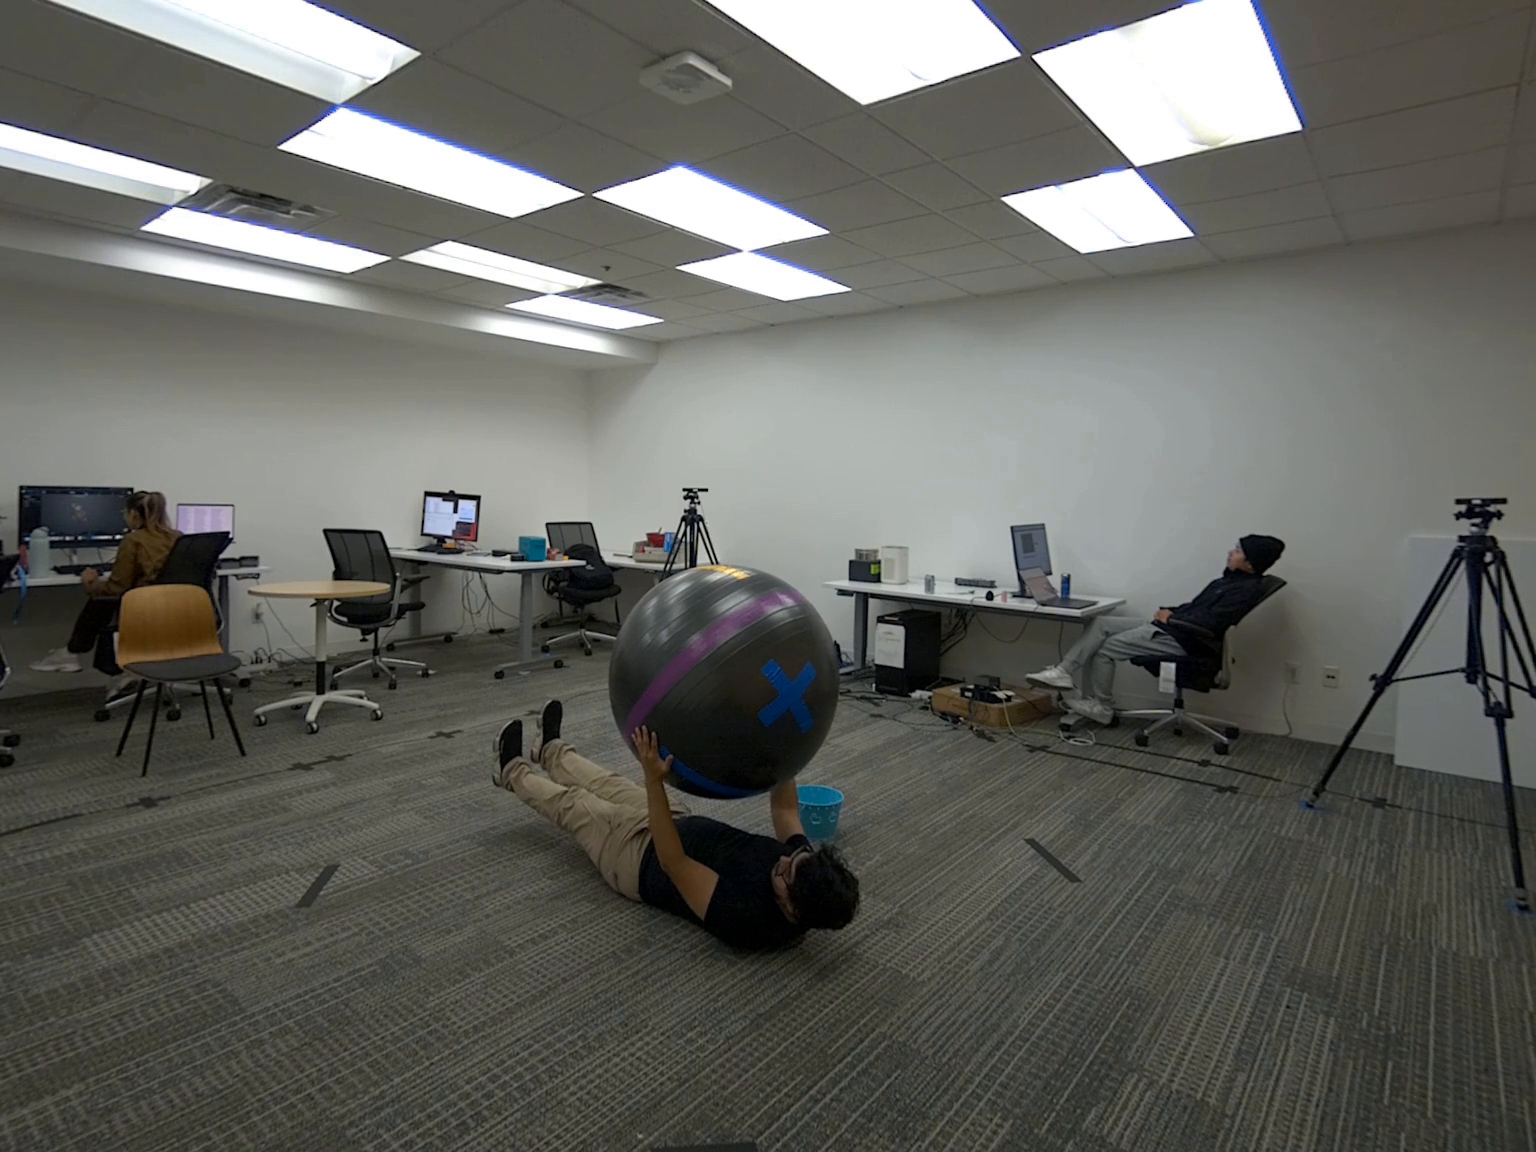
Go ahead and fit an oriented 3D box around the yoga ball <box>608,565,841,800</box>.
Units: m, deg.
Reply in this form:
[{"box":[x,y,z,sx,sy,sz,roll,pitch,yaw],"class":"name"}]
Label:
[{"box":[-0.157,0.347,2.796,0.757,0.756,0.761,0,4,-2],"class":"yoga ball"}]
